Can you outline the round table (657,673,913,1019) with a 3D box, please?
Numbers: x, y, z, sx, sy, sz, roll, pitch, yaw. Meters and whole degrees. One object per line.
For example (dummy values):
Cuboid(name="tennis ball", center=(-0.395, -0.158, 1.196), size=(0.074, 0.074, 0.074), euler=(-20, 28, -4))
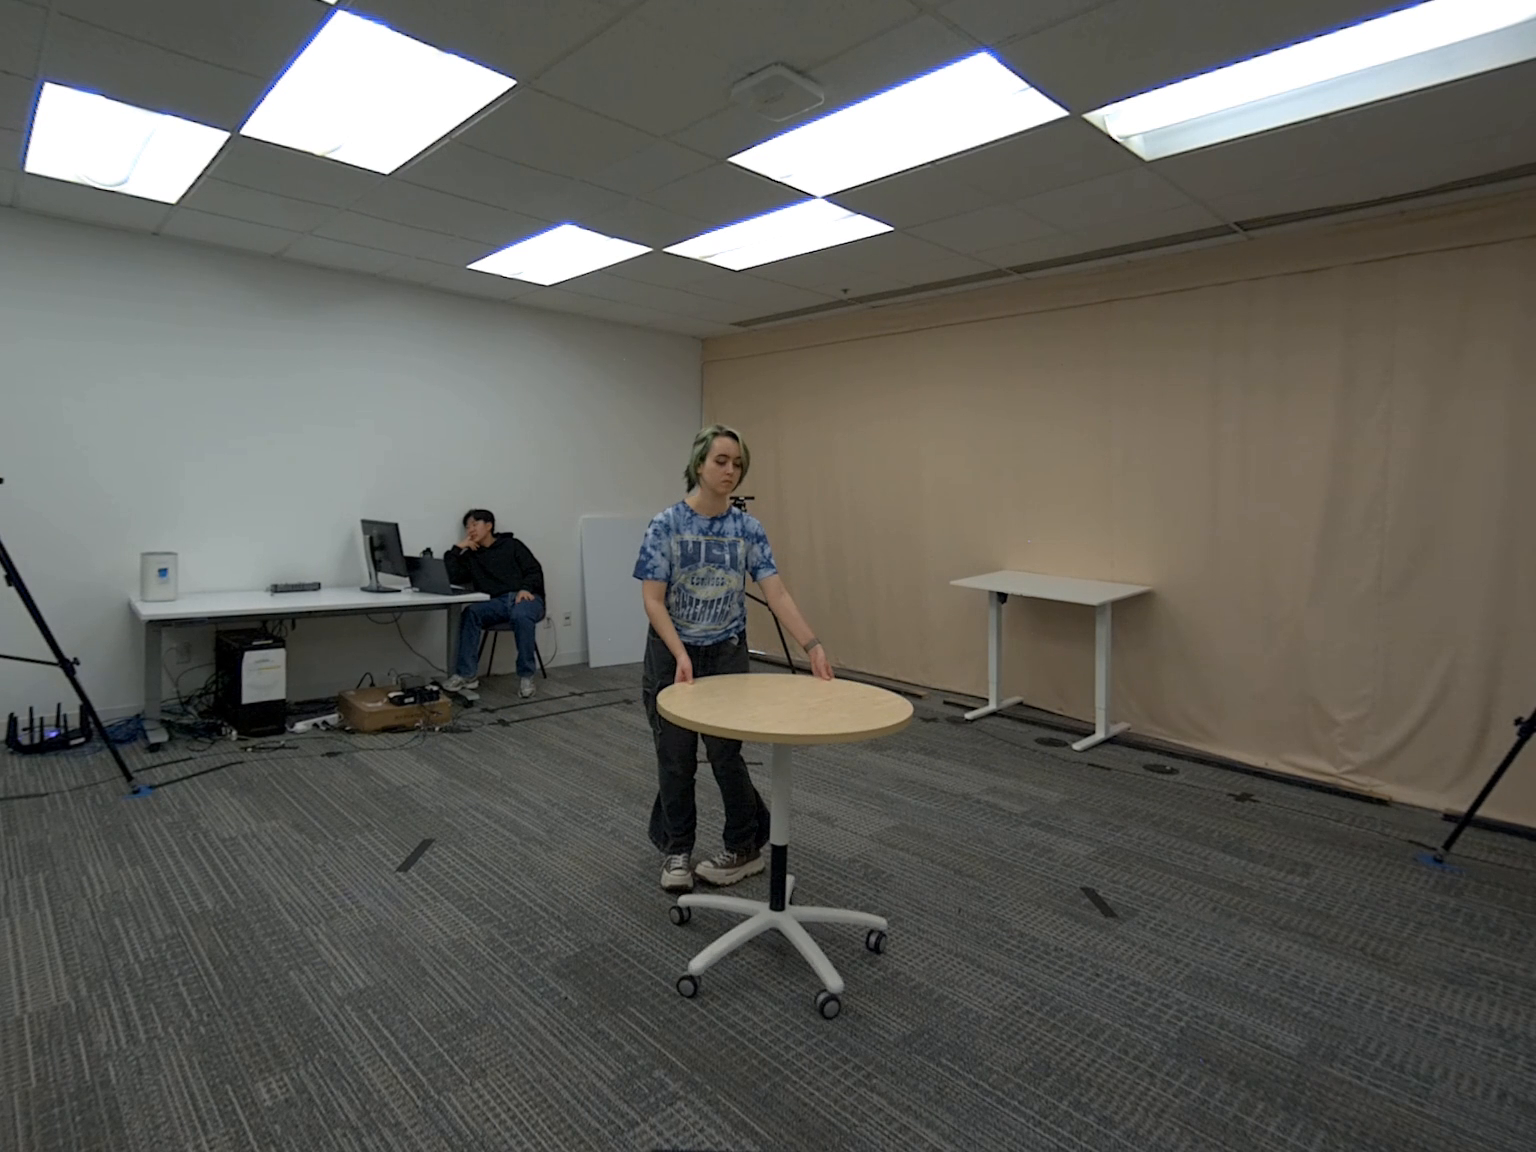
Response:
Cuboid(name="round table", center=(0.026, 0.768, 2.561), size=(0.763, 0.792, 0.767), euler=(2, 4, -2))
